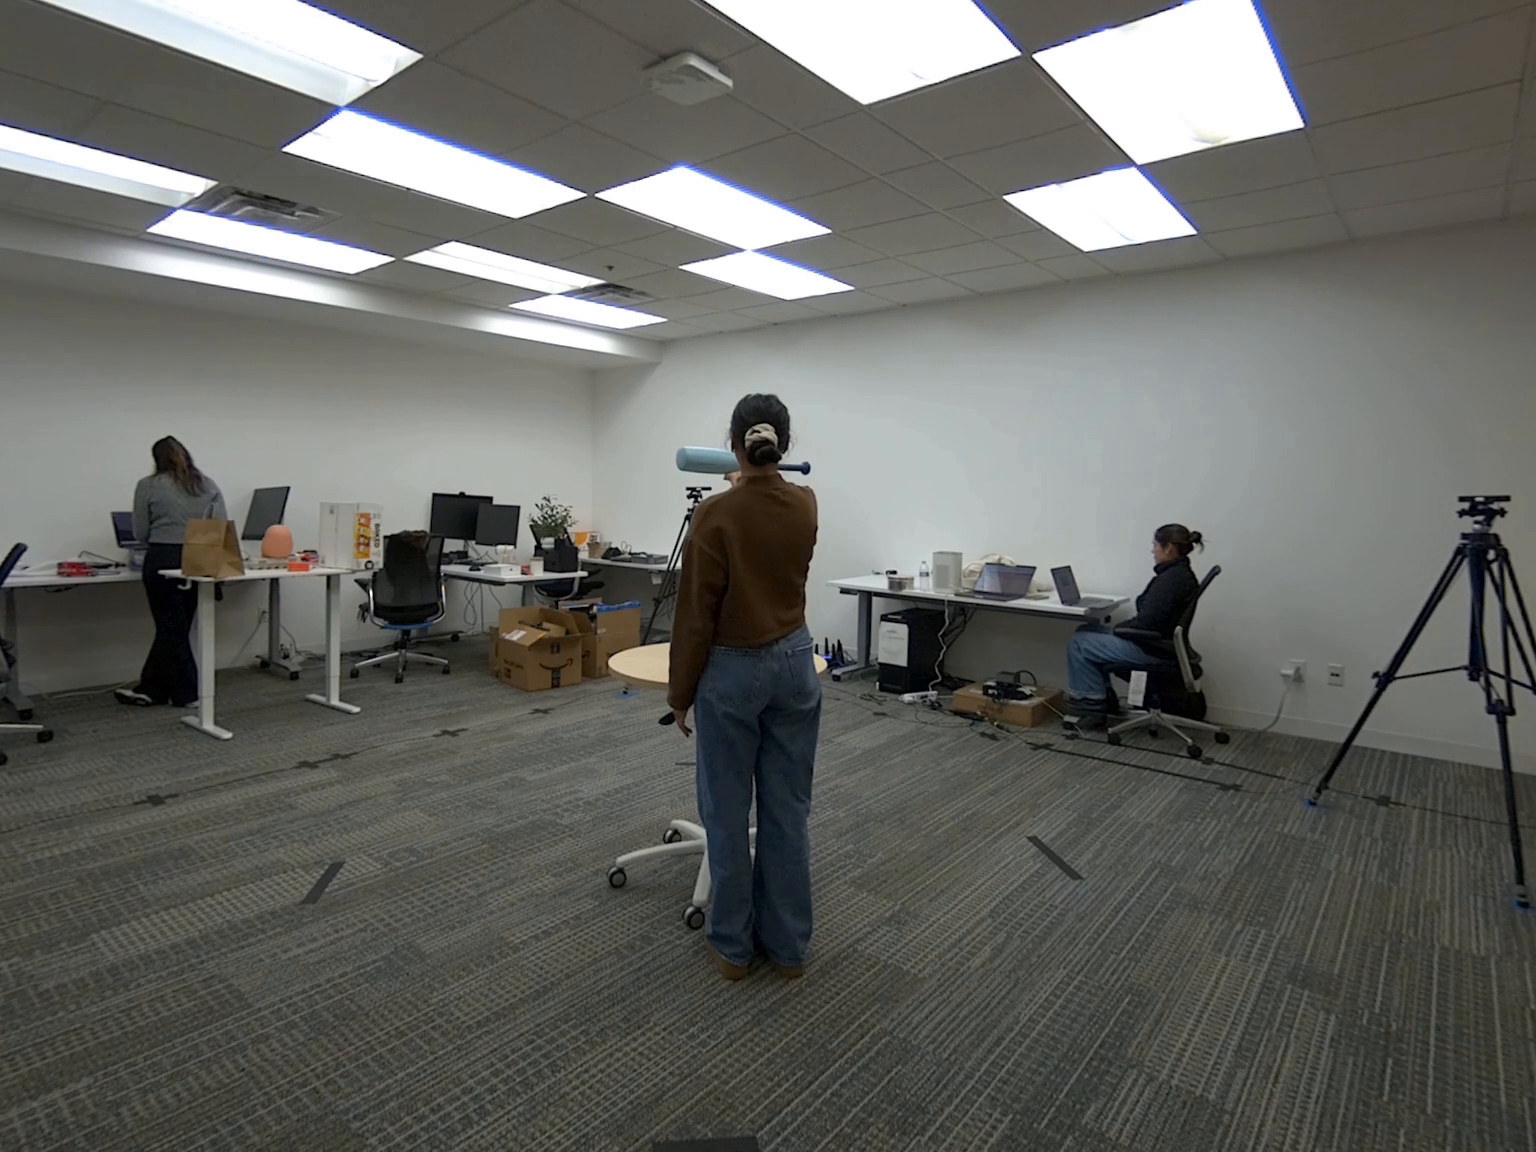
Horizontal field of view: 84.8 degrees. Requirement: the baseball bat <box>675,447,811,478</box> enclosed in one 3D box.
[{"bbox_3d":[-0.087,-0.405,3.049,0.528,0.089,0.092,0,4,-30],"label":"baseball bat"}]
